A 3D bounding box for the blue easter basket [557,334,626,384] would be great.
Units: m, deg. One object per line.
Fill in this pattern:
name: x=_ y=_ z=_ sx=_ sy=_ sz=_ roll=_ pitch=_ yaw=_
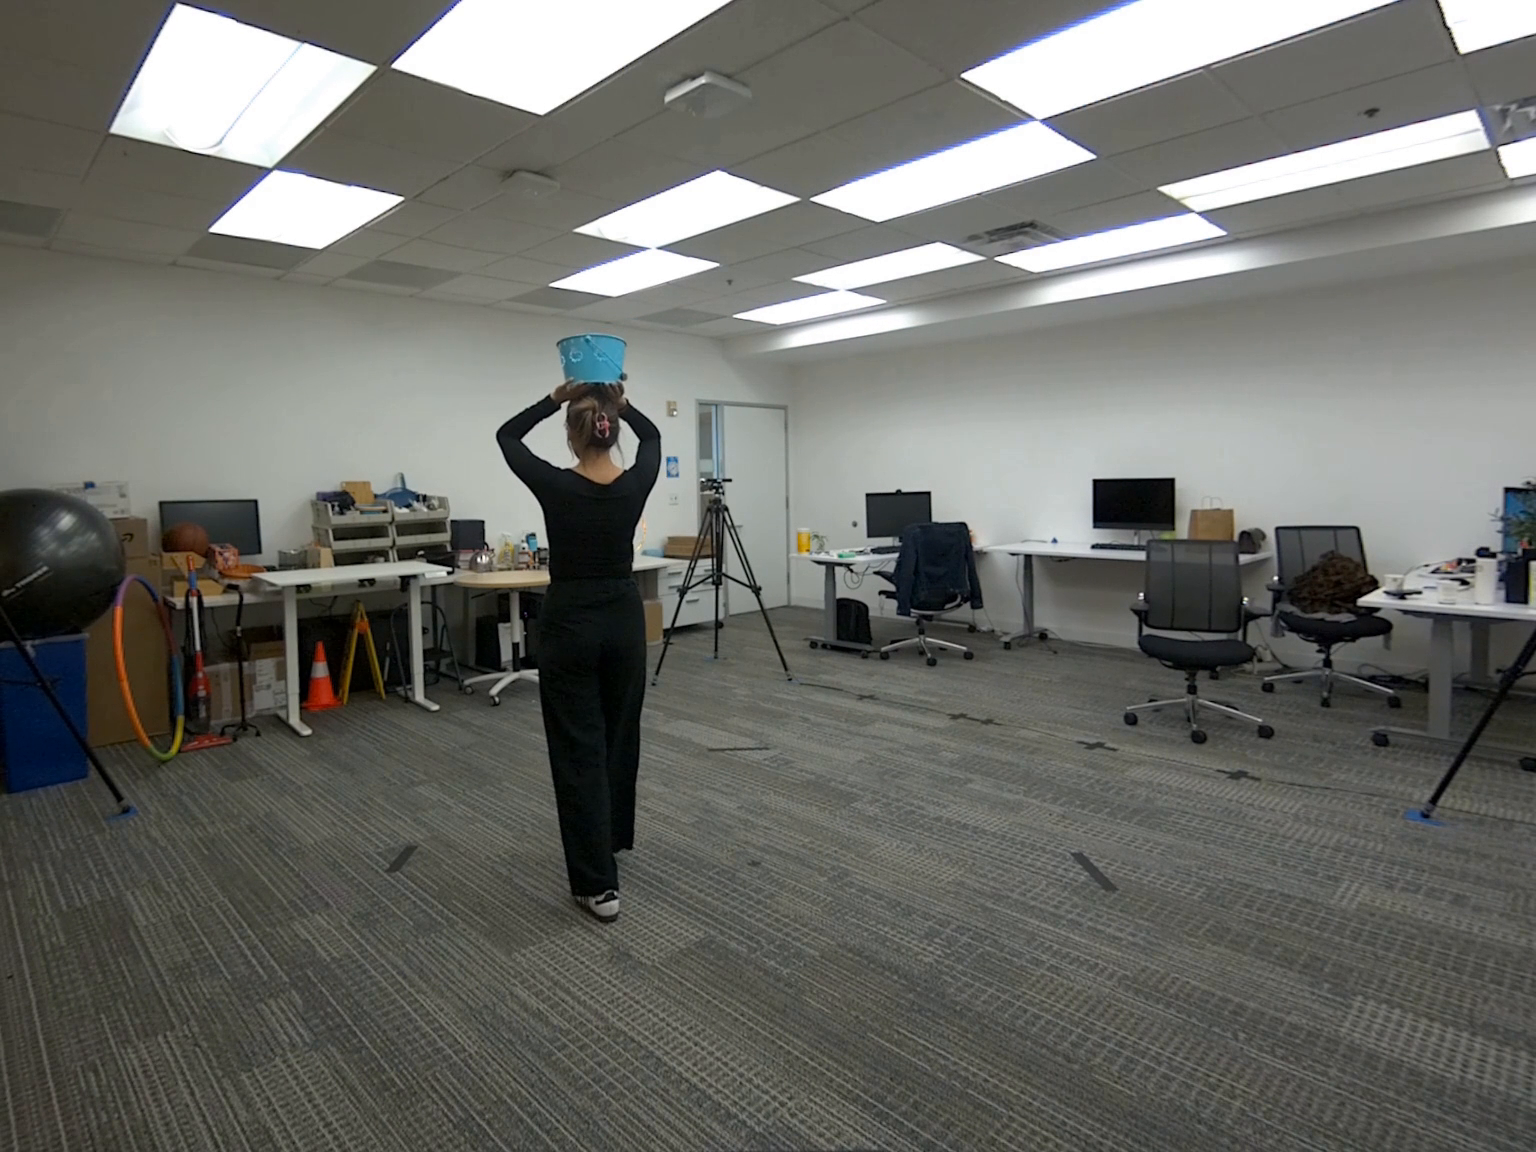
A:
blue easter basket: x=-0.585 y=-0.700 z=2.851 sx=0.243 sy=0.156 sz=0.244 roll=-5 pitch=1 yaw=-2
